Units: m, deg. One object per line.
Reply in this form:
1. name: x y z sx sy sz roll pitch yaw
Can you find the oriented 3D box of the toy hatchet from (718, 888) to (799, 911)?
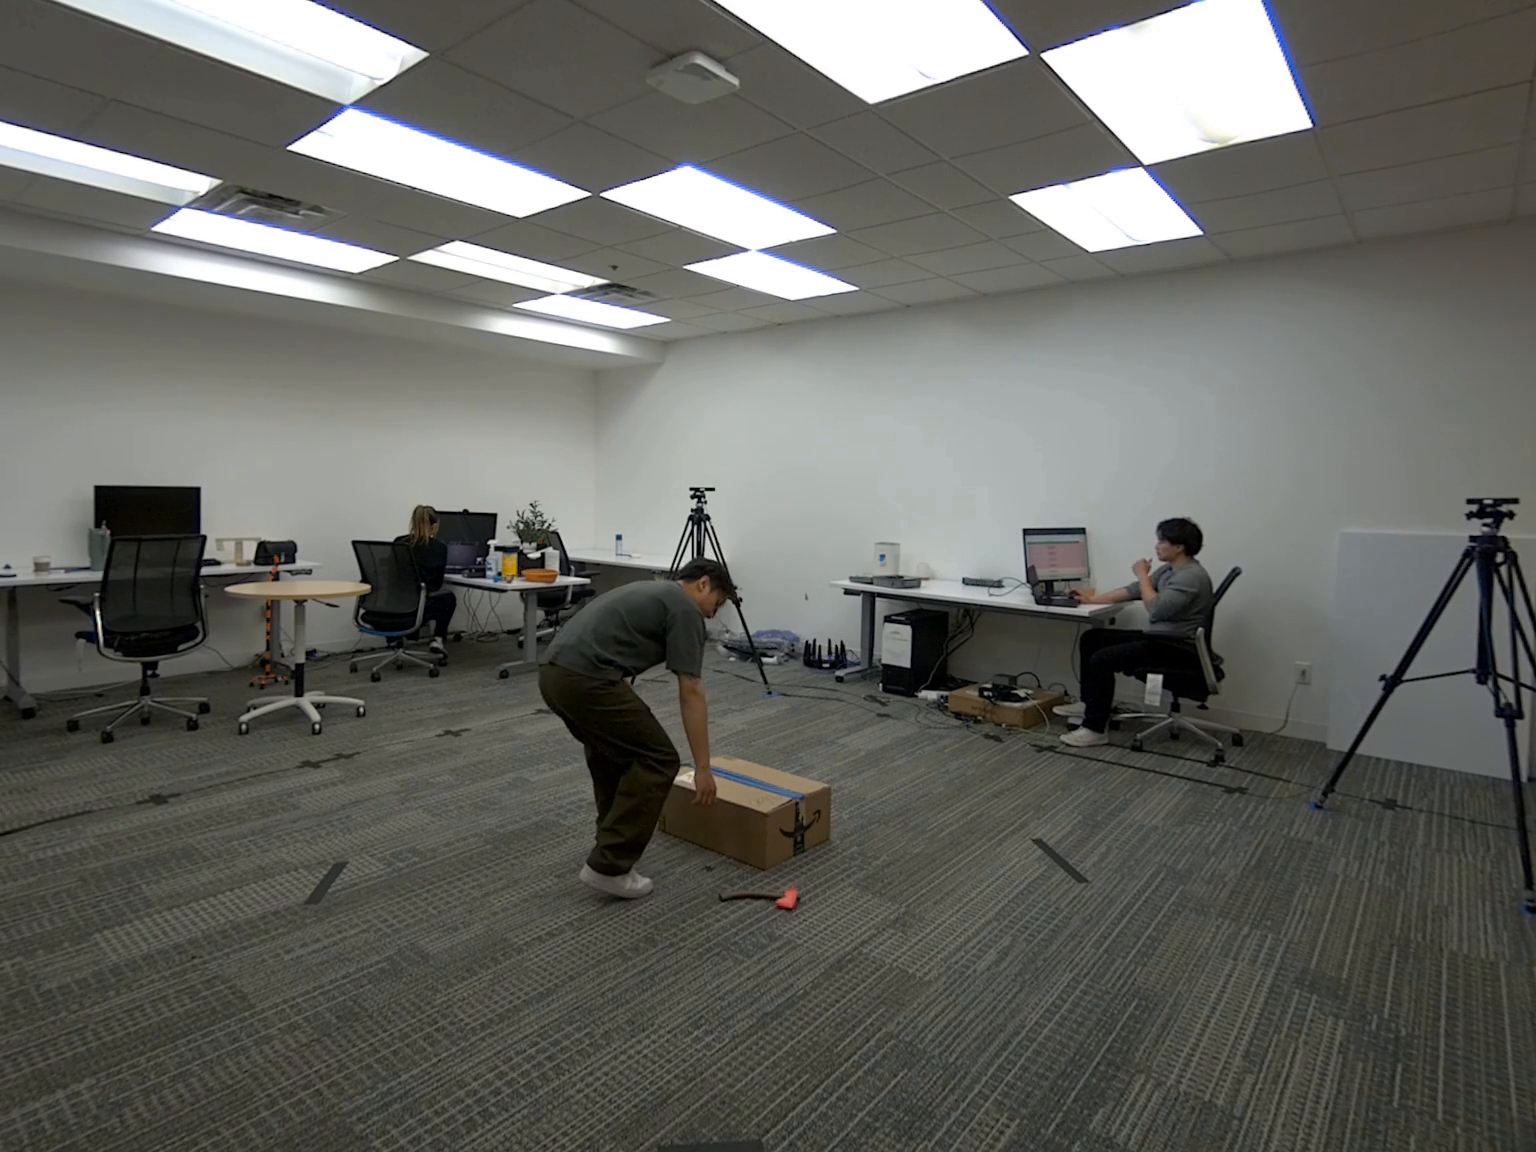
1. toy hatchet: -0.035 1.094 2.847 0.267 0.029 0.134 -2 10 -11
